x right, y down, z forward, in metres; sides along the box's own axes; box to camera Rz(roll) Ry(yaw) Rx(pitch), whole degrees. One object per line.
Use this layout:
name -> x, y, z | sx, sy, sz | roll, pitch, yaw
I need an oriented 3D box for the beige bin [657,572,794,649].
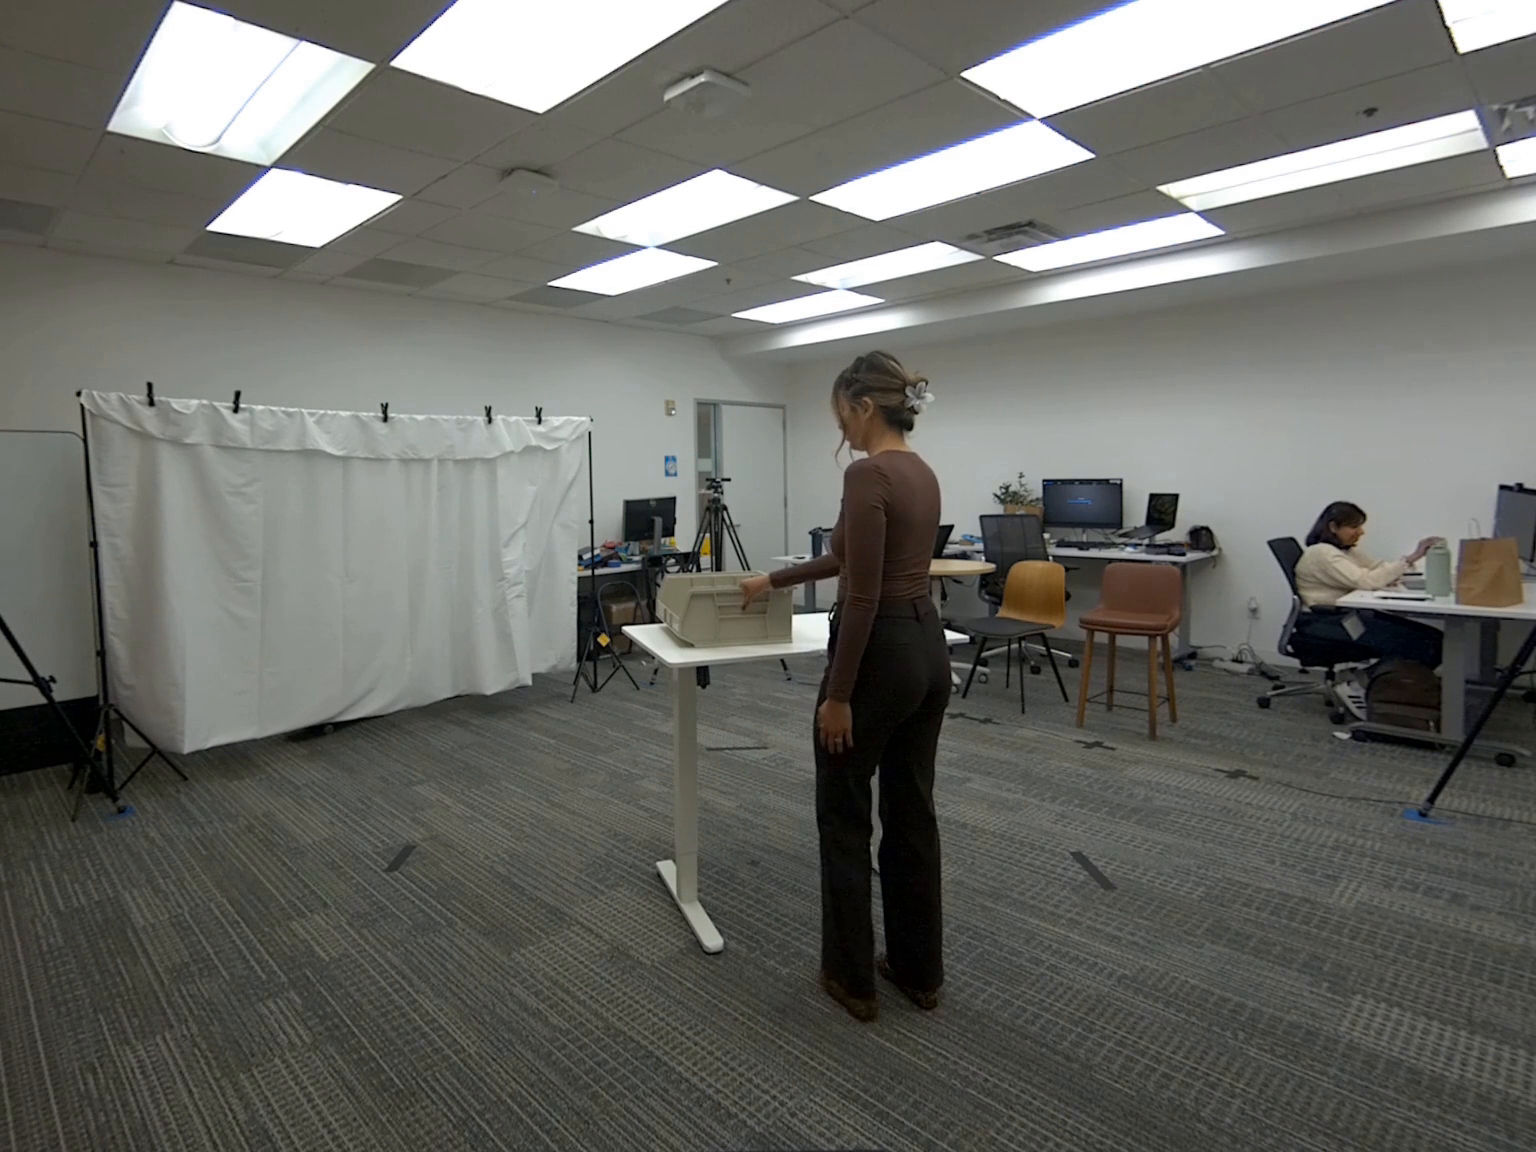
beige bin -> -0.145, 0.103, 2.805 | 0.372, 0.188, 0.430 | -1, 5, -16
